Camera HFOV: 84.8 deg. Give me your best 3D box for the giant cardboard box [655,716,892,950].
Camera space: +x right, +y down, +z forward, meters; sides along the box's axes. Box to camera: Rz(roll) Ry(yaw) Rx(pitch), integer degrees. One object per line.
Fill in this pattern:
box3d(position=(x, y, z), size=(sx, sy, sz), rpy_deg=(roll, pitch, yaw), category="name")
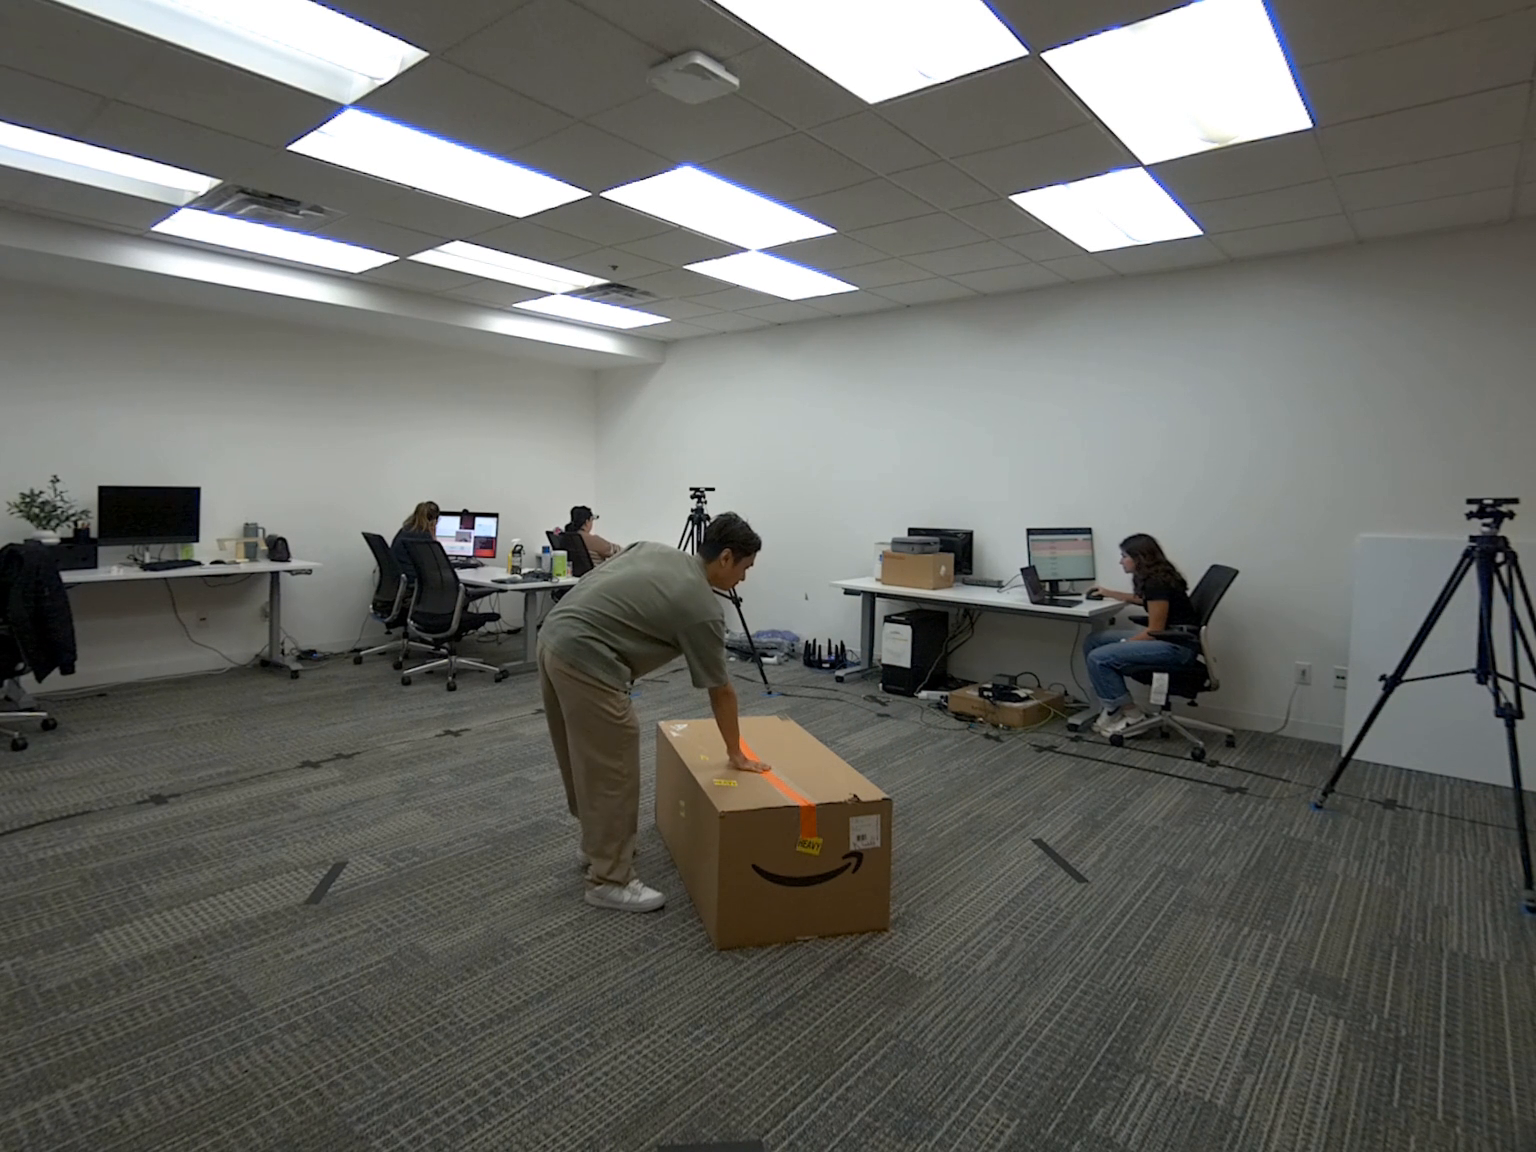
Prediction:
box3d(position=(-0.043, 0.857, 3.103), size=(0.568, 0.424, 1.047), rpy_deg=(-1, 6, -17), category="giant cardboard box")
